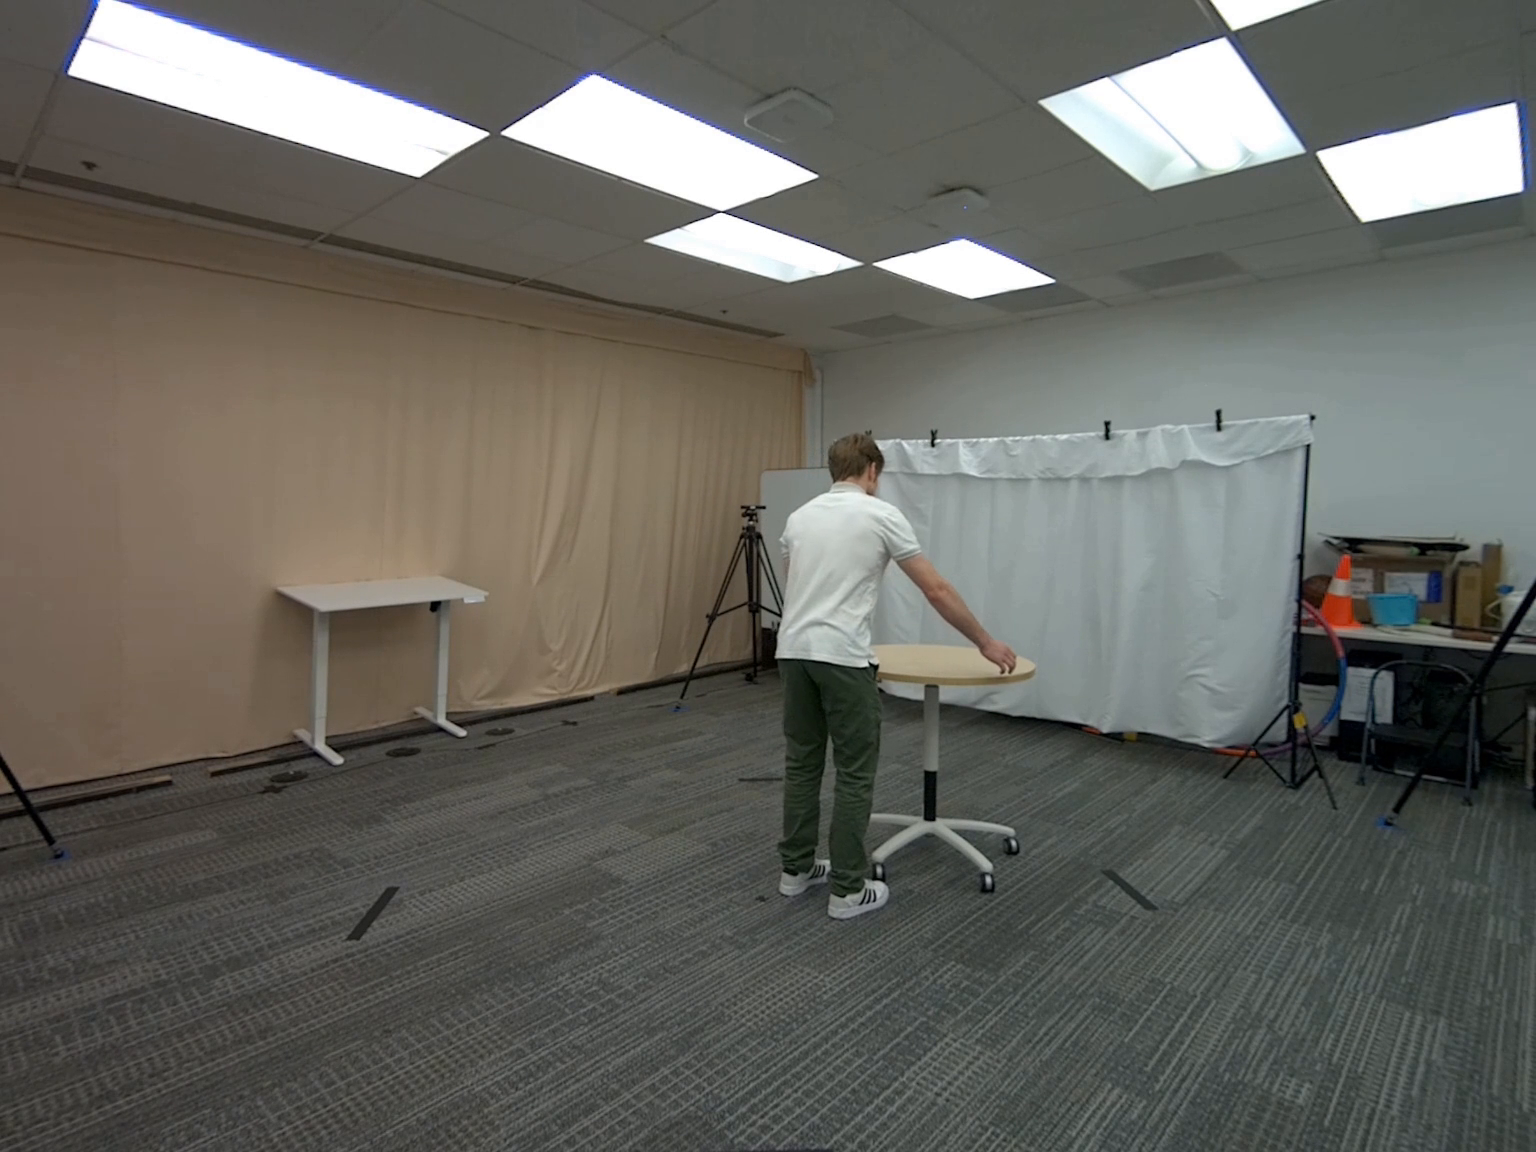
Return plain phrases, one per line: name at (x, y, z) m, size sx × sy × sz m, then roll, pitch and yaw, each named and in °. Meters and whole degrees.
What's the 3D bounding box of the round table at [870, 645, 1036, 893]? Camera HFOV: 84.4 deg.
round table at (0.649, 0.723, 3.345) m, size 0.763 × 0.792 × 0.766 m, roll 1°, pitch 3°, yaw -2°
